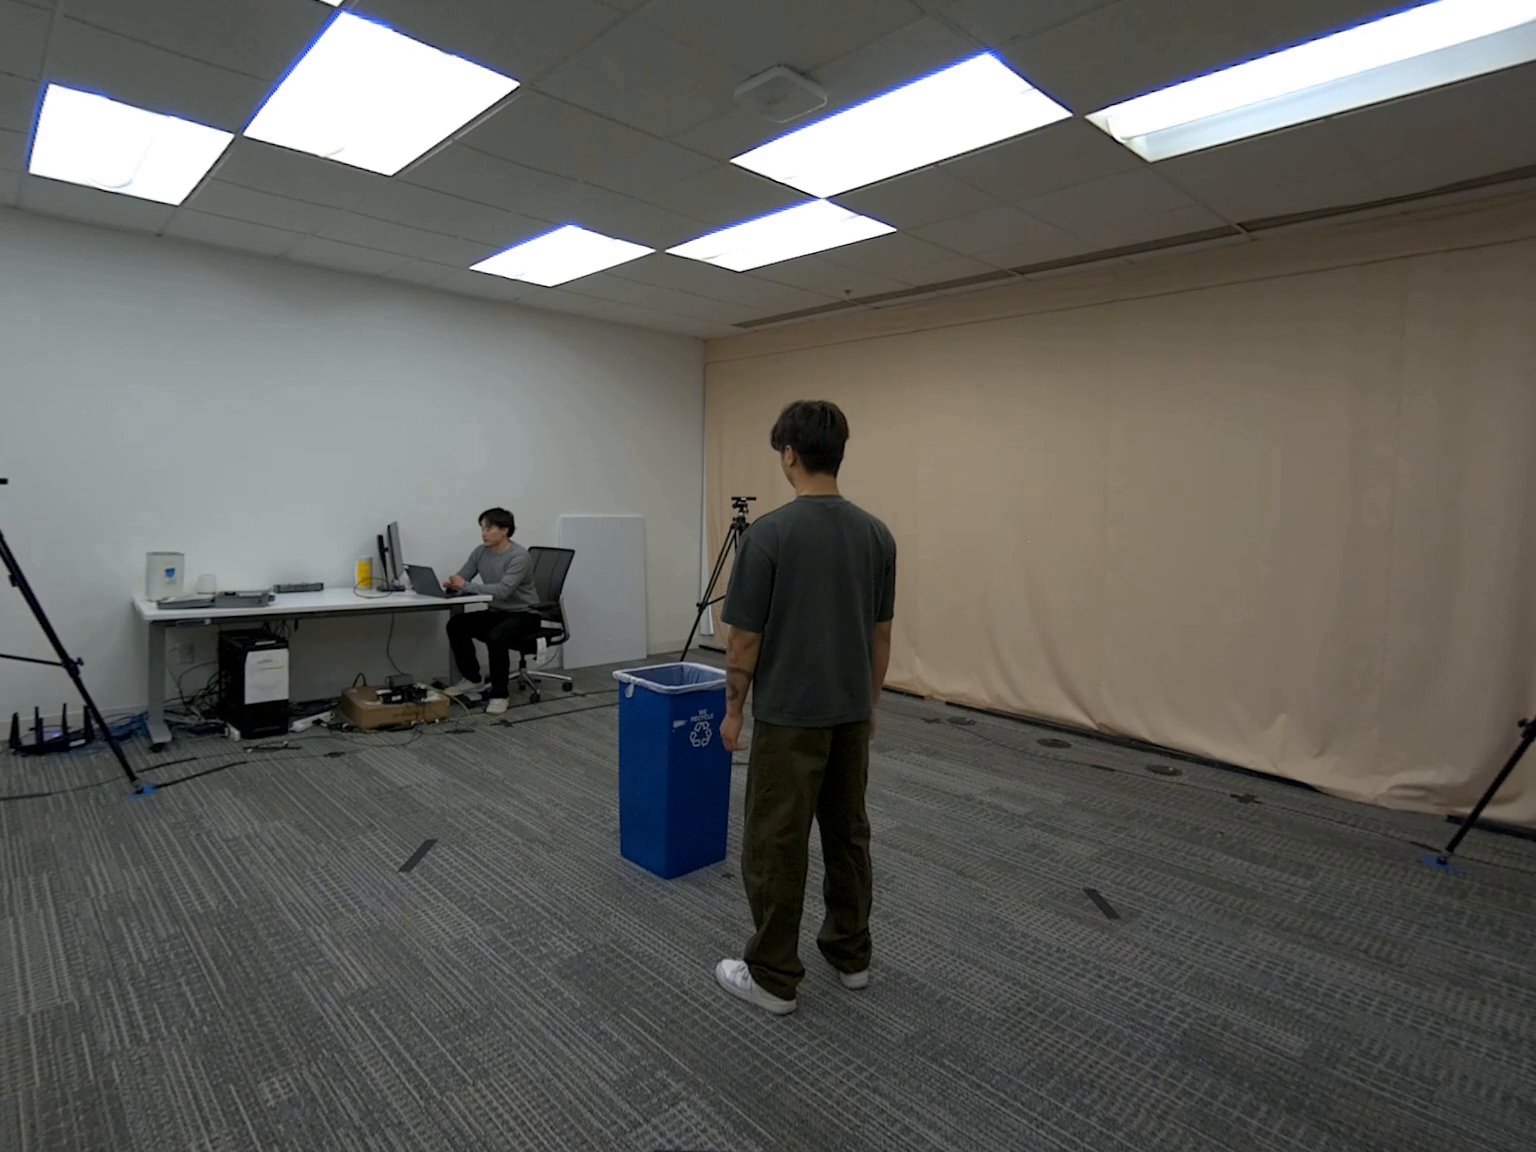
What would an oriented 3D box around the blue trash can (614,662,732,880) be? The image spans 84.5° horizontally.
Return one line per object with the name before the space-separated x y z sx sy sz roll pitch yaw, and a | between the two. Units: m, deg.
blue trash can | -0.374 0.732 3.246 0.369 0.712 0.384 -2 5 -44
